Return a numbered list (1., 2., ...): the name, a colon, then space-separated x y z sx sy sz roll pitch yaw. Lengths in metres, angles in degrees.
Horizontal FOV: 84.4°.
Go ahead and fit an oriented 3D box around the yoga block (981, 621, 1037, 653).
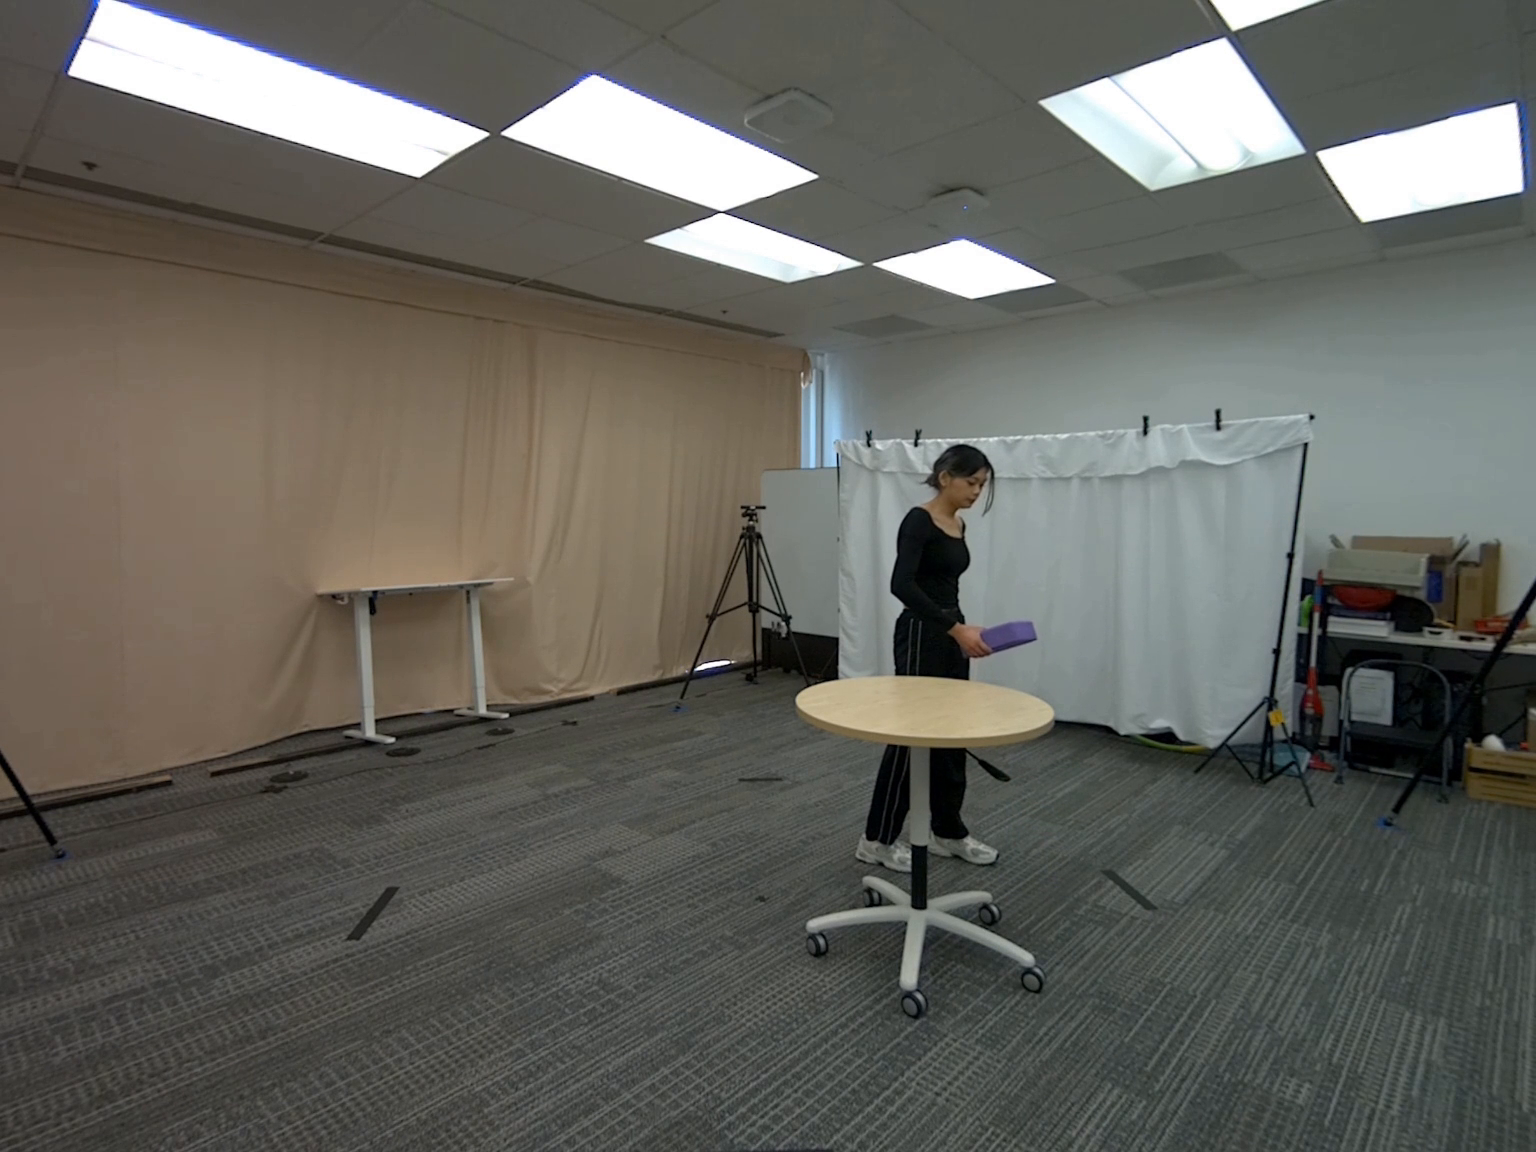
1. yoga block: 0.799 0.224 3.025 0.144 0.077 0.234 1 -19 -45
